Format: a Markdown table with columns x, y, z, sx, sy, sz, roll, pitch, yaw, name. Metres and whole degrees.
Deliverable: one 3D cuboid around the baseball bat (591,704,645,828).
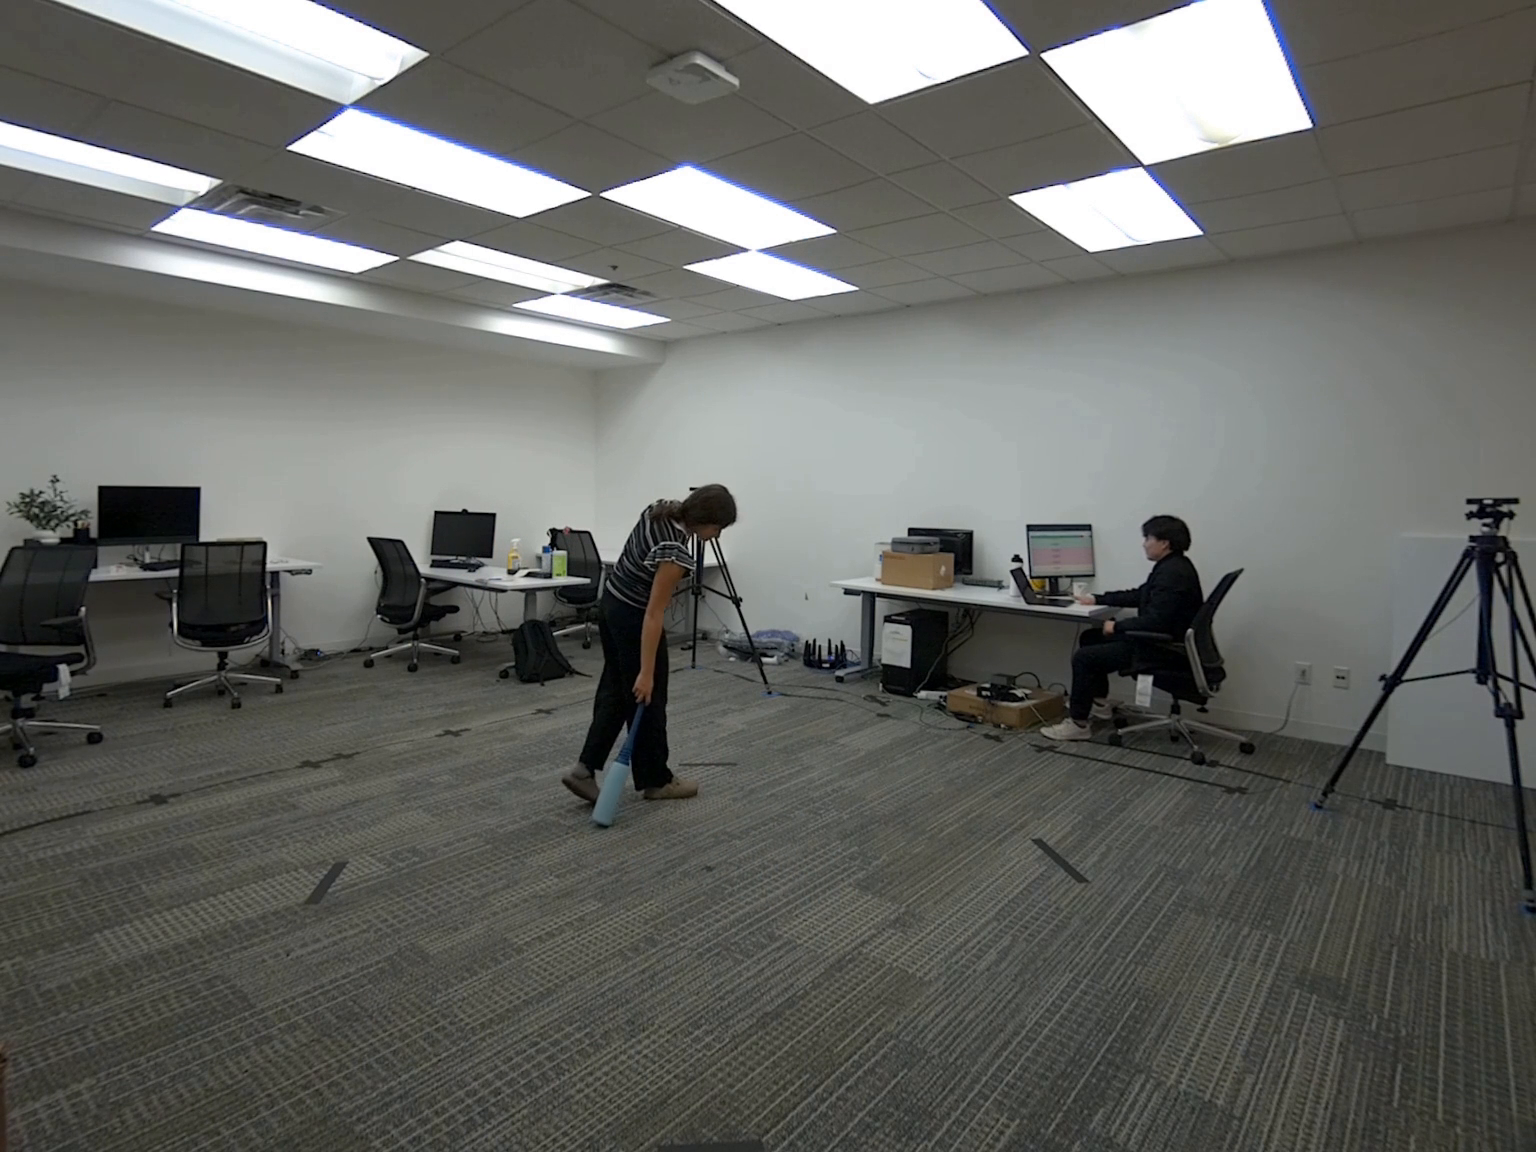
| x | y | z | sx | sy | sz | roll | pitch | yaw | name |
| --- | --- | --- | --- | --- | --- | --- | --- | --- | --- |
| -0.622 | 0.767 | 3.550 | 0.089 | 0.548 | 0.088 | 16 | -16 | 3 | baseball bat |
